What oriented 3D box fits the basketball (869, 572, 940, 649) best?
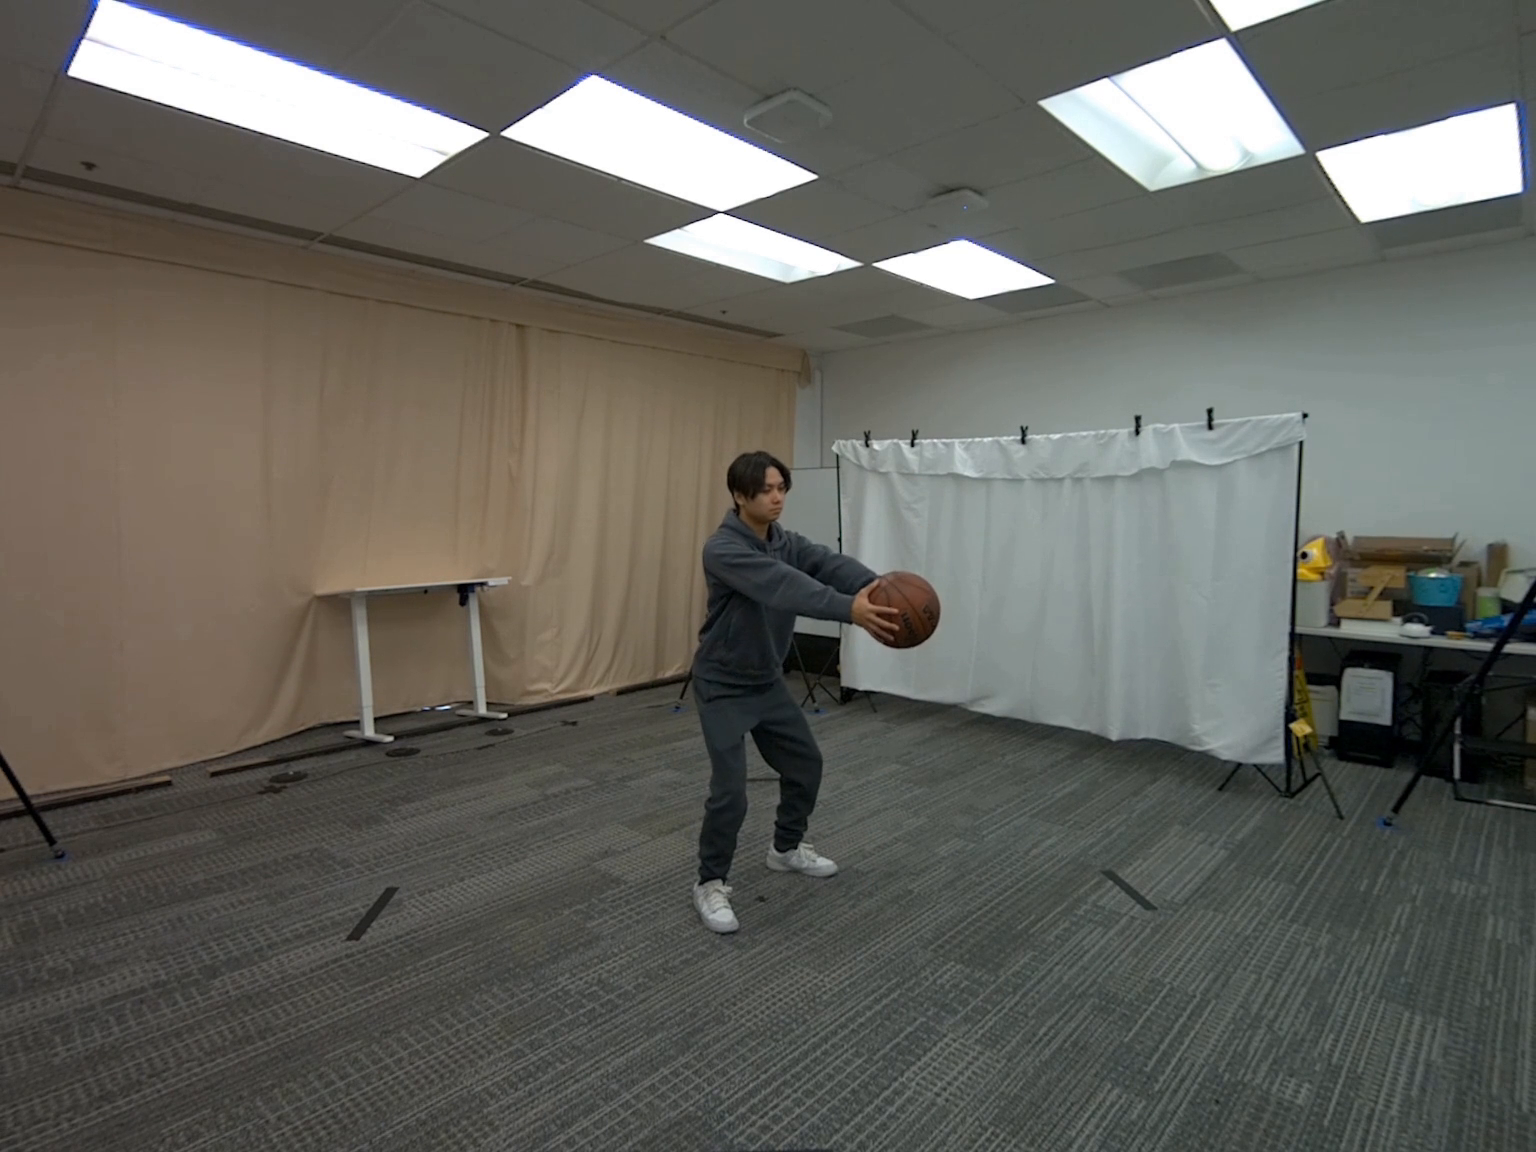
[{"bbox_3d":[0.406,0.104,2.587,0.236,0.235,0.237,0,4,-2],"label":"basketball"}]
